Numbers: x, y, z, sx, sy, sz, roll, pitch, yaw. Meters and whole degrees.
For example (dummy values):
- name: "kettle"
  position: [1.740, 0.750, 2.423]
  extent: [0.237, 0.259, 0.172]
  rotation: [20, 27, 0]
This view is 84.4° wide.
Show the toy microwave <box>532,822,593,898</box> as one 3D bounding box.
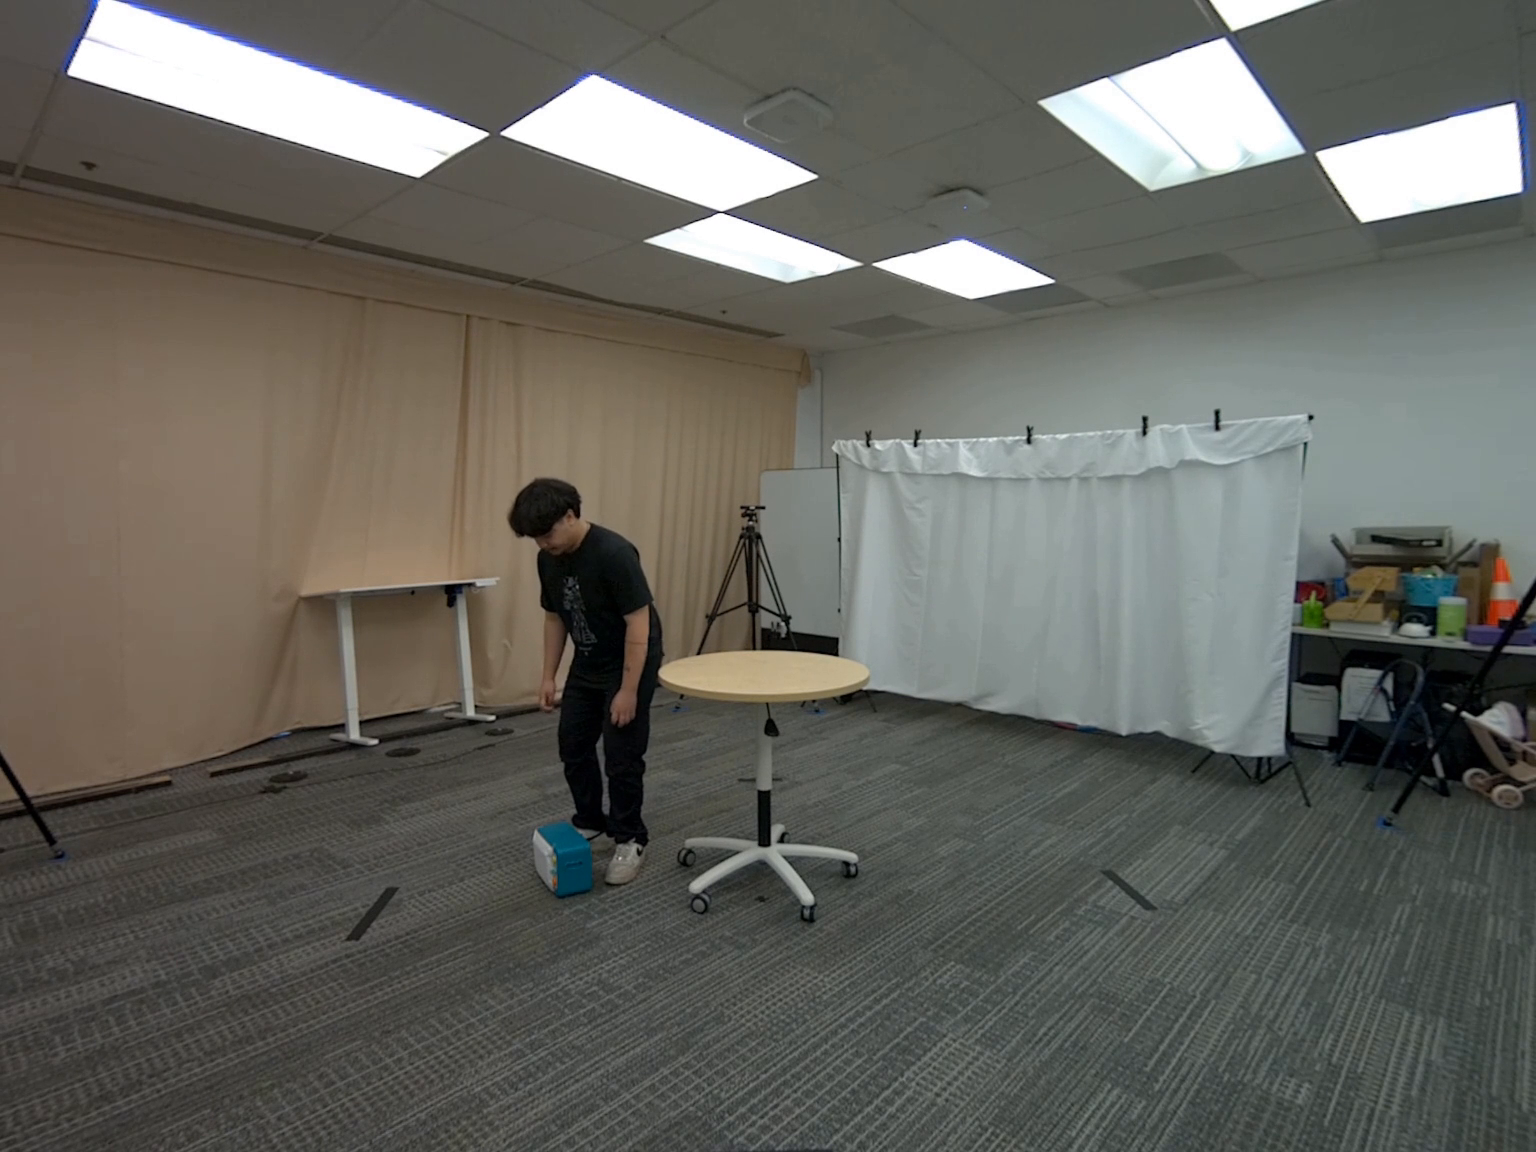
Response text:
- name: "toy microwave"
  position: [-0.766, 1.044, 3.126]
  extent: [0.148, 0.184, 0.295]
  rotation: [-3, 5, -32]
